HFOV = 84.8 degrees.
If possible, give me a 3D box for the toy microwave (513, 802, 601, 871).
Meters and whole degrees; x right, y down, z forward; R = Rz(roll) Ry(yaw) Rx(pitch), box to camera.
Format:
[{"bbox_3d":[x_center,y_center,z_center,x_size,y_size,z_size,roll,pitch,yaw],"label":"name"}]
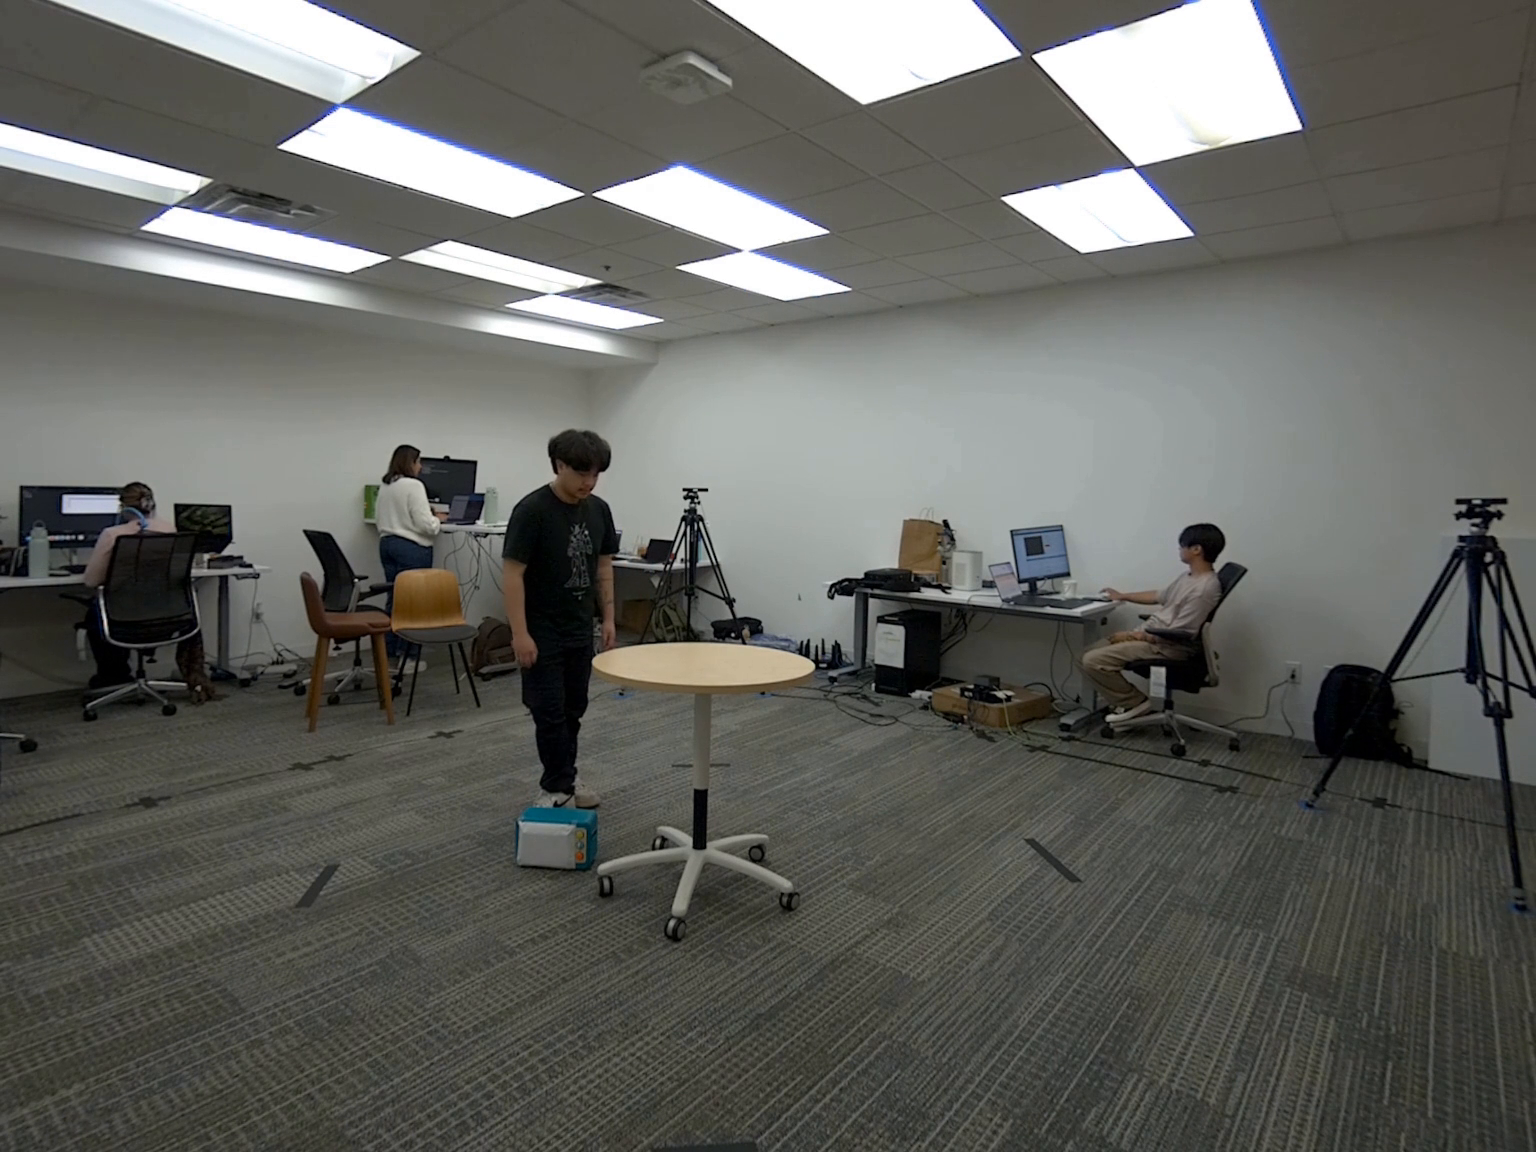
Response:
[{"bbox_3d":[-0.783,0.962,3.124,0.288,0.184,0.152,1,2,5],"label":"toy microwave"}]
